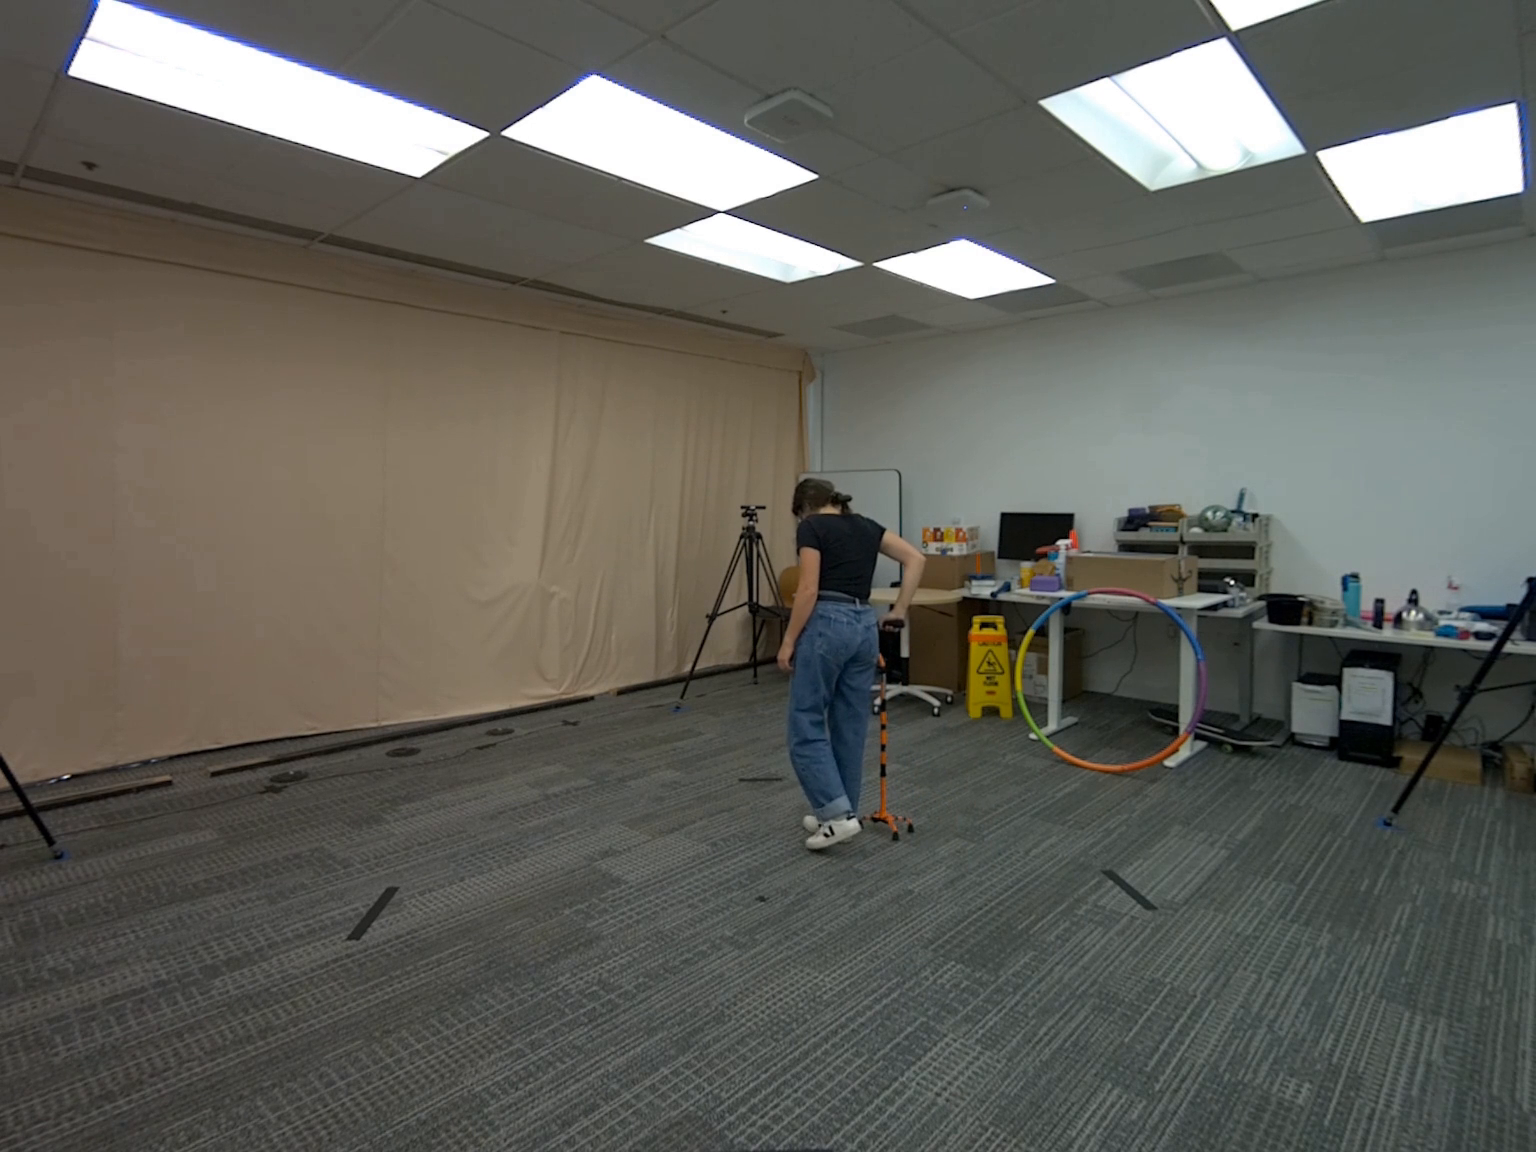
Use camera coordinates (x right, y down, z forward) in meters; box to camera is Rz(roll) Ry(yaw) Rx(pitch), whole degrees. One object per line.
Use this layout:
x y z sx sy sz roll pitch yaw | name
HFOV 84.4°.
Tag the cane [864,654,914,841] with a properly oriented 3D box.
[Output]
0.518 0.640 3.592 0.213 0.906 0.147 2 3 41 | cane
